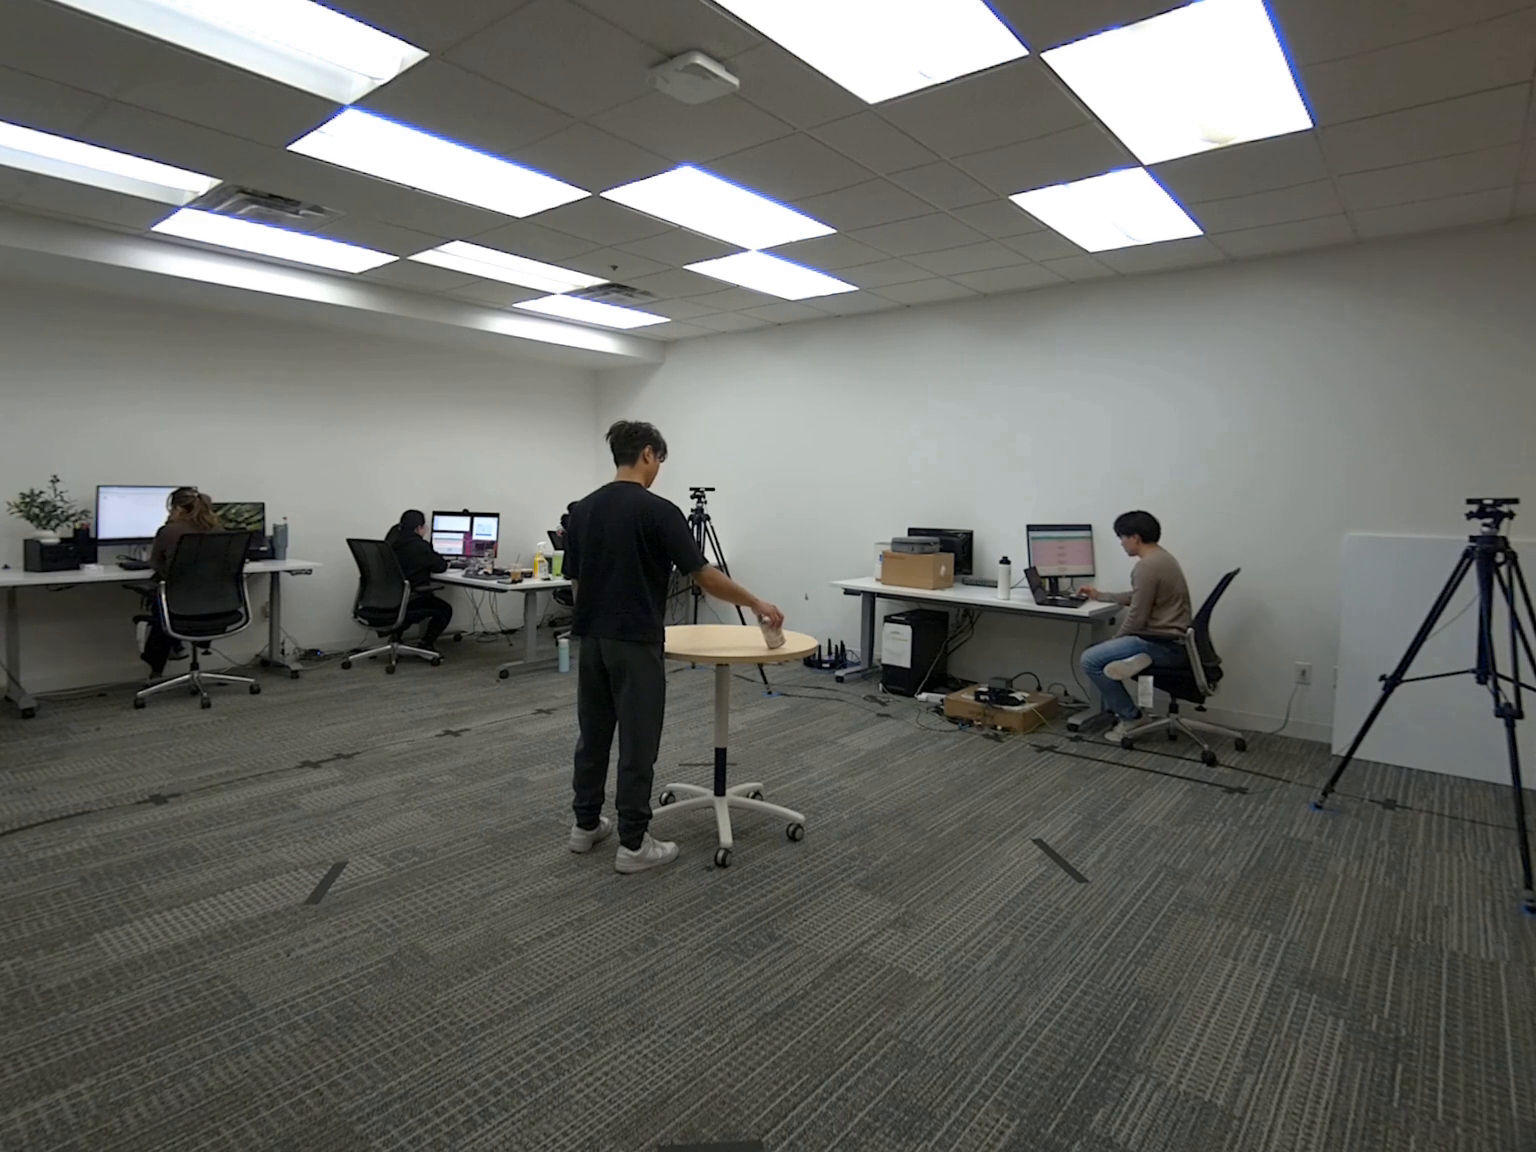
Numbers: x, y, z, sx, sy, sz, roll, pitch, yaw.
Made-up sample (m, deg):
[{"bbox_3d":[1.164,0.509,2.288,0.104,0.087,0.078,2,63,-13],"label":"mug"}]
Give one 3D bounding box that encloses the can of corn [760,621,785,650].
[{"bbox_3d":[0.005,0.211,3.233,0.074,0.109,0.075,-19,12,3],"label":"can of corn"}]
